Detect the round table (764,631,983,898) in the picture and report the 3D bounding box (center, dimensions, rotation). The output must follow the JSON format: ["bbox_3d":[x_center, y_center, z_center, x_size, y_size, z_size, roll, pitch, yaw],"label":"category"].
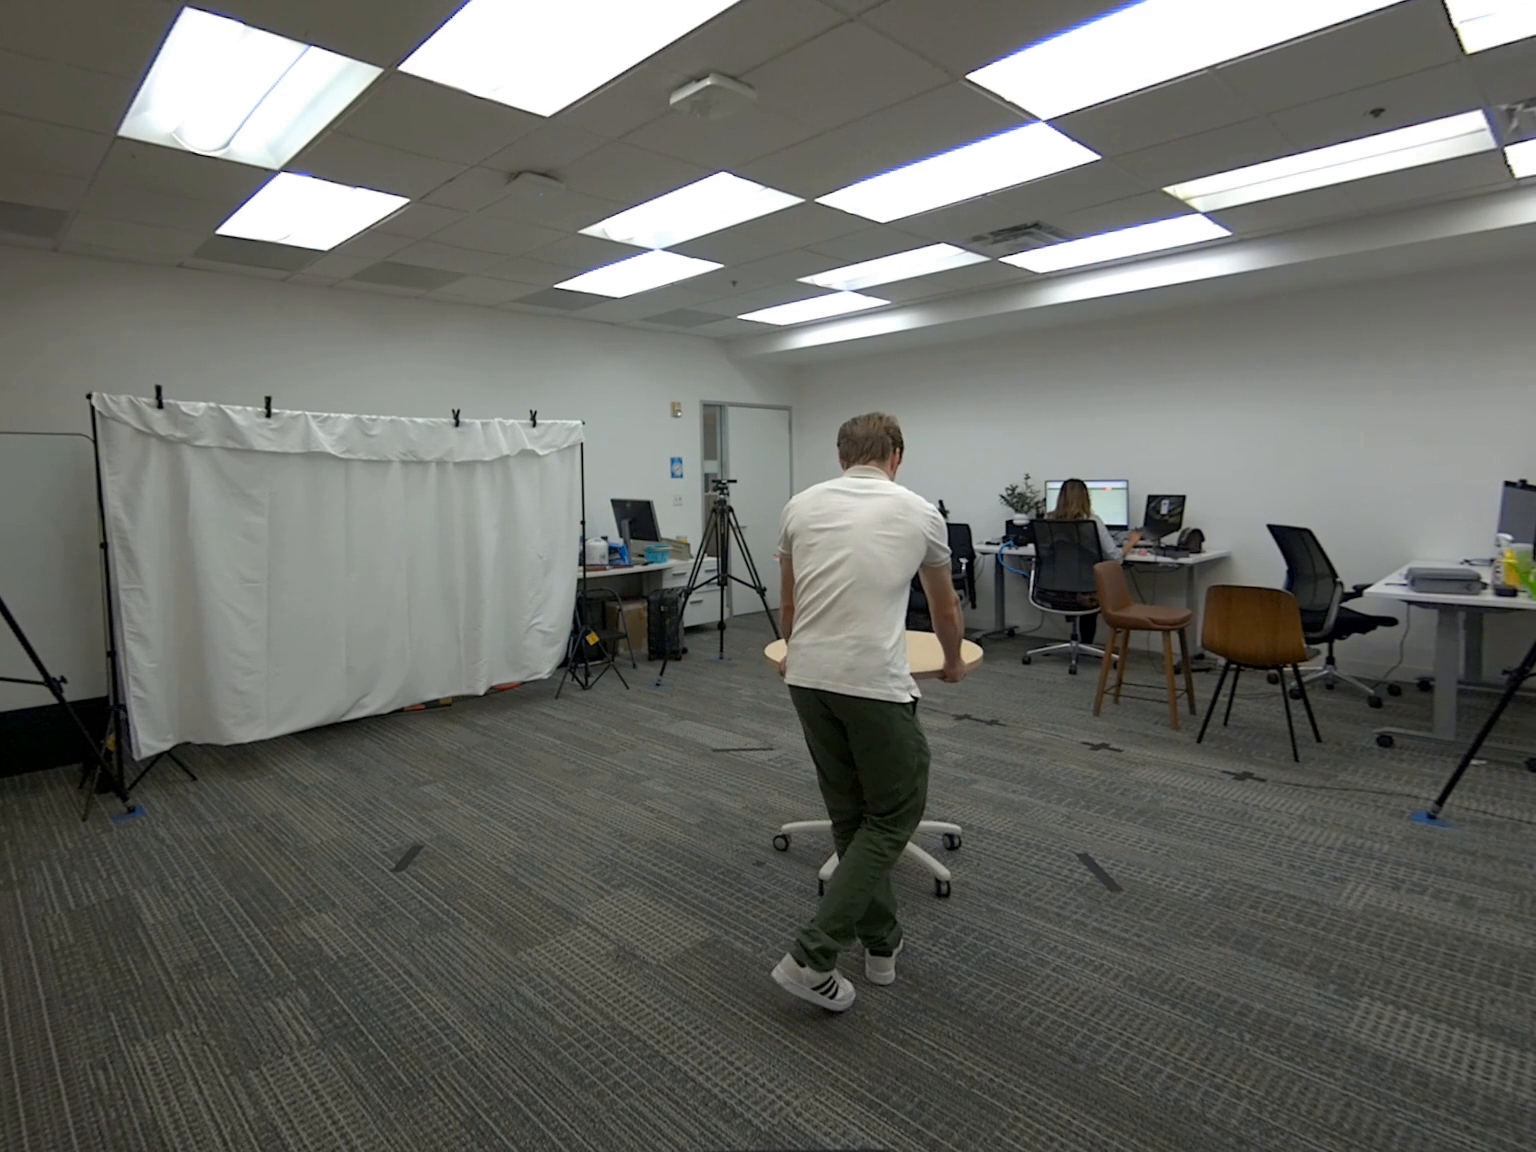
[{"bbox_3d":[0.389,0.651,3.073,0.784,0.783,0.789,-2,5,-2],"label":"round table"}]
